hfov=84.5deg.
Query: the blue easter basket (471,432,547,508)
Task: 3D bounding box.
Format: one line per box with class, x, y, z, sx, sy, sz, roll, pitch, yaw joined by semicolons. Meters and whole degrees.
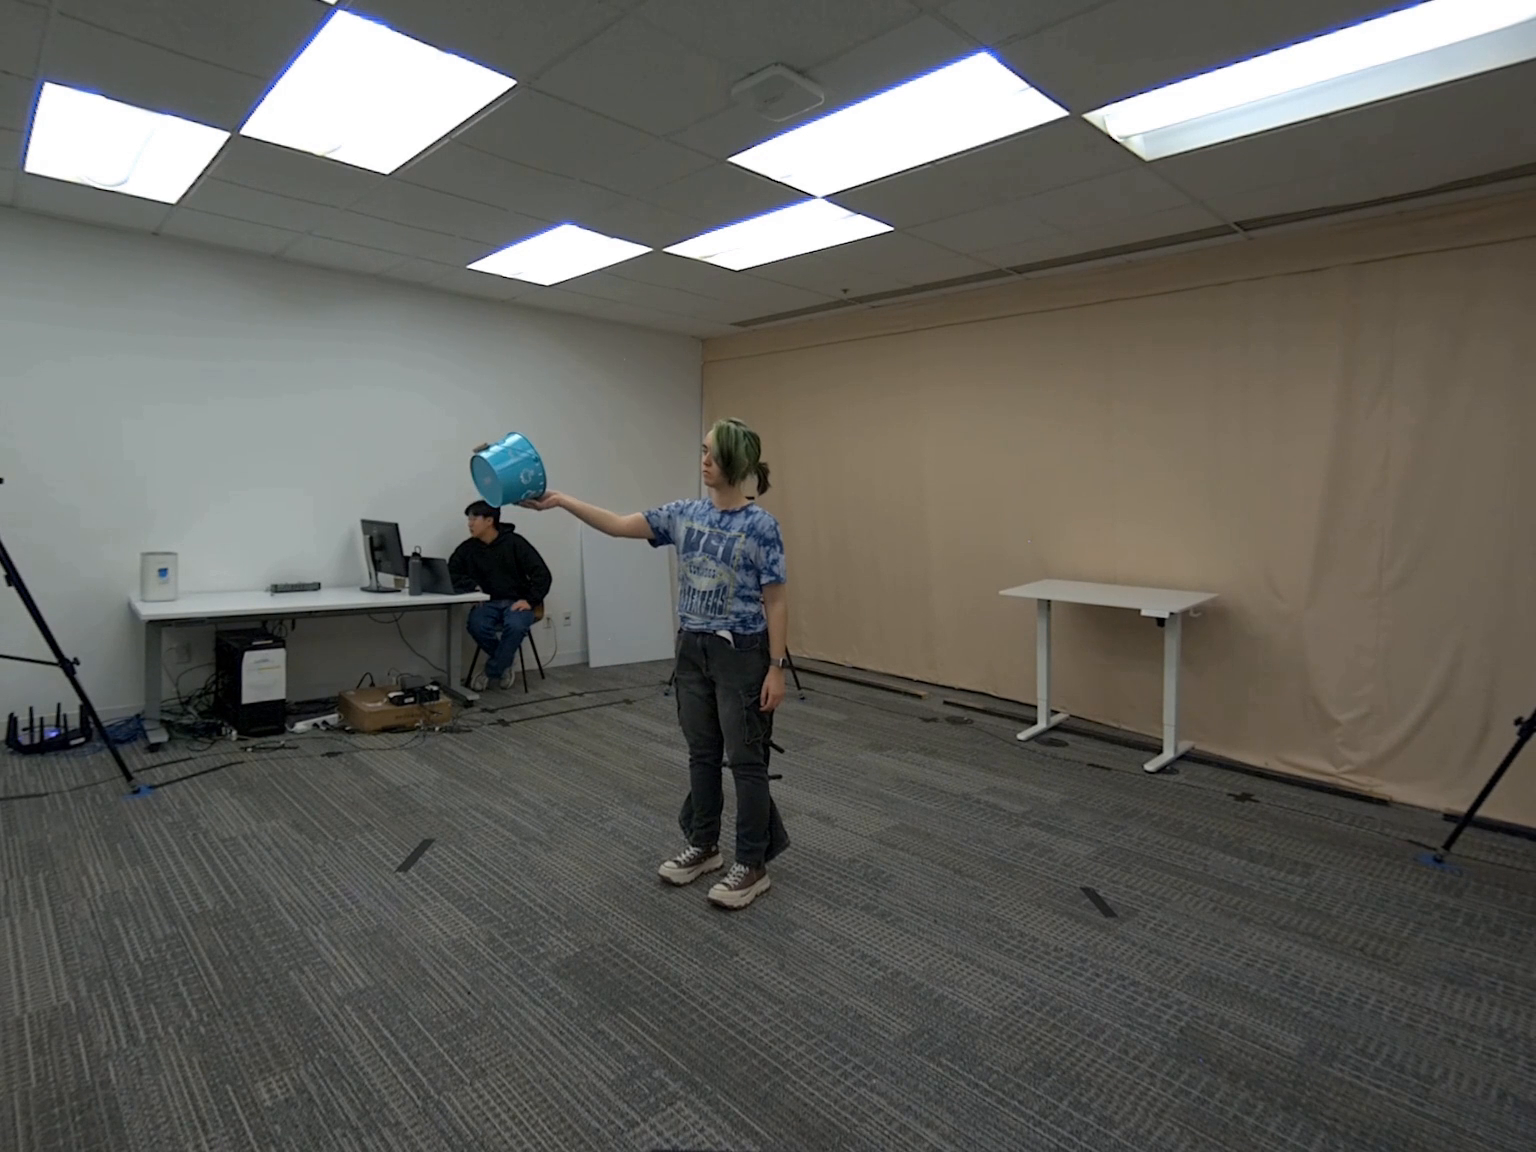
blue easter basket;-0.865;-0.329;2.744;0.154;0.240;0.250;-29;23;-38
